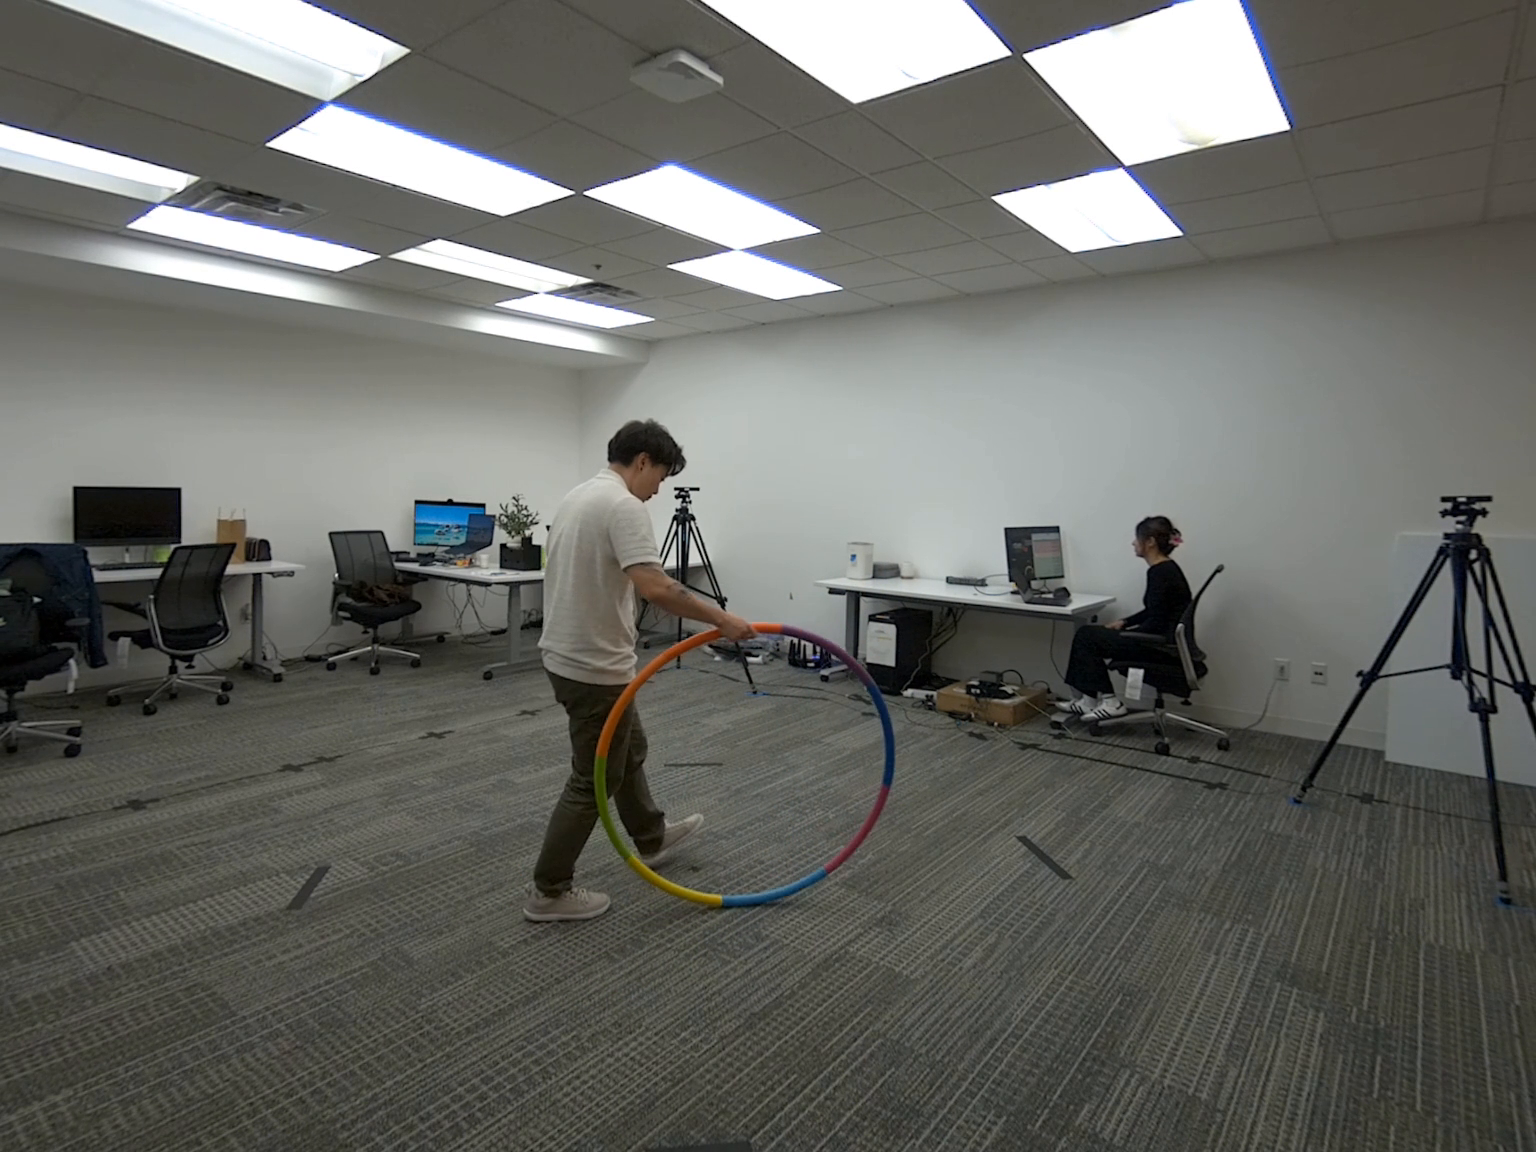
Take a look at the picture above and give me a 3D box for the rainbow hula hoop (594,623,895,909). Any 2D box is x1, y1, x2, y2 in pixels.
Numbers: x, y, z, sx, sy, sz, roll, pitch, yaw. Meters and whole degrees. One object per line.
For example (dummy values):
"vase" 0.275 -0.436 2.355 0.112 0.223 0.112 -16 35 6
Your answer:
"rainbow hula hoop" -0.062 0.625 2.737 0.967 0.969 0.036 0 11 -11
